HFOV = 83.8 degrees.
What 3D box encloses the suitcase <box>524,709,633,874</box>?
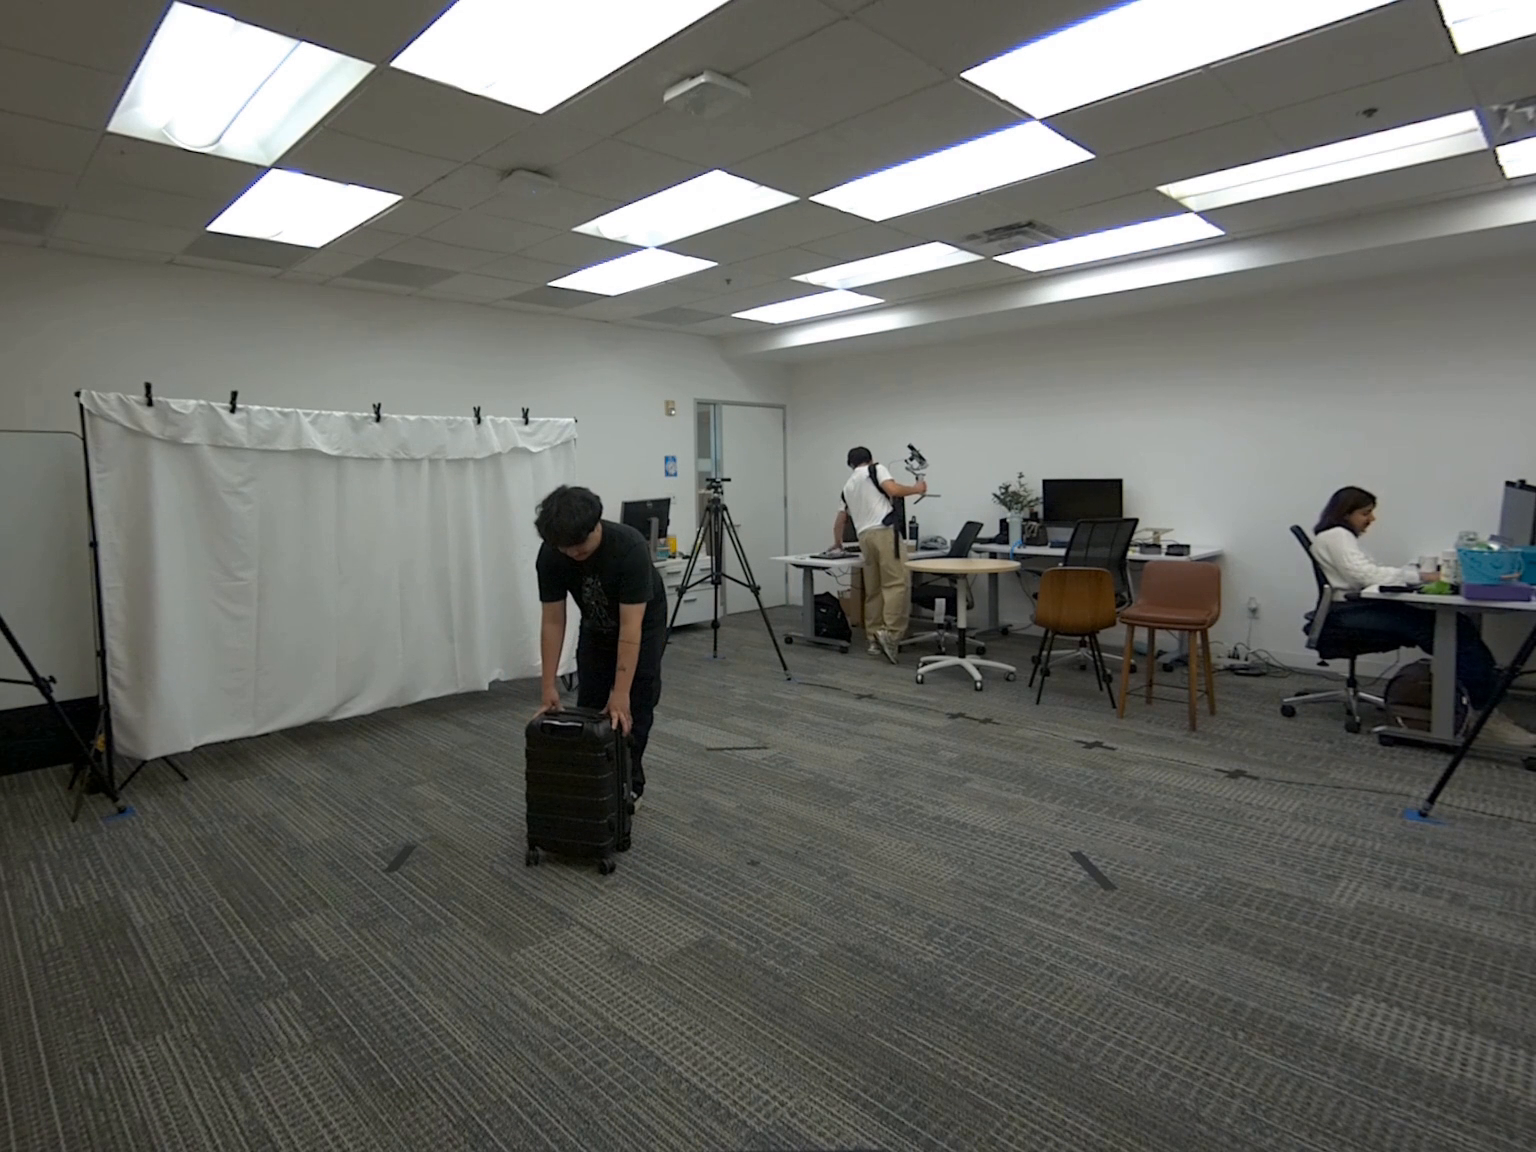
[{"bbox_3d":[-0.713,0.774,3.193,0.382,0.548,0.244,-1,2,19],"label":"suitcase"}]
